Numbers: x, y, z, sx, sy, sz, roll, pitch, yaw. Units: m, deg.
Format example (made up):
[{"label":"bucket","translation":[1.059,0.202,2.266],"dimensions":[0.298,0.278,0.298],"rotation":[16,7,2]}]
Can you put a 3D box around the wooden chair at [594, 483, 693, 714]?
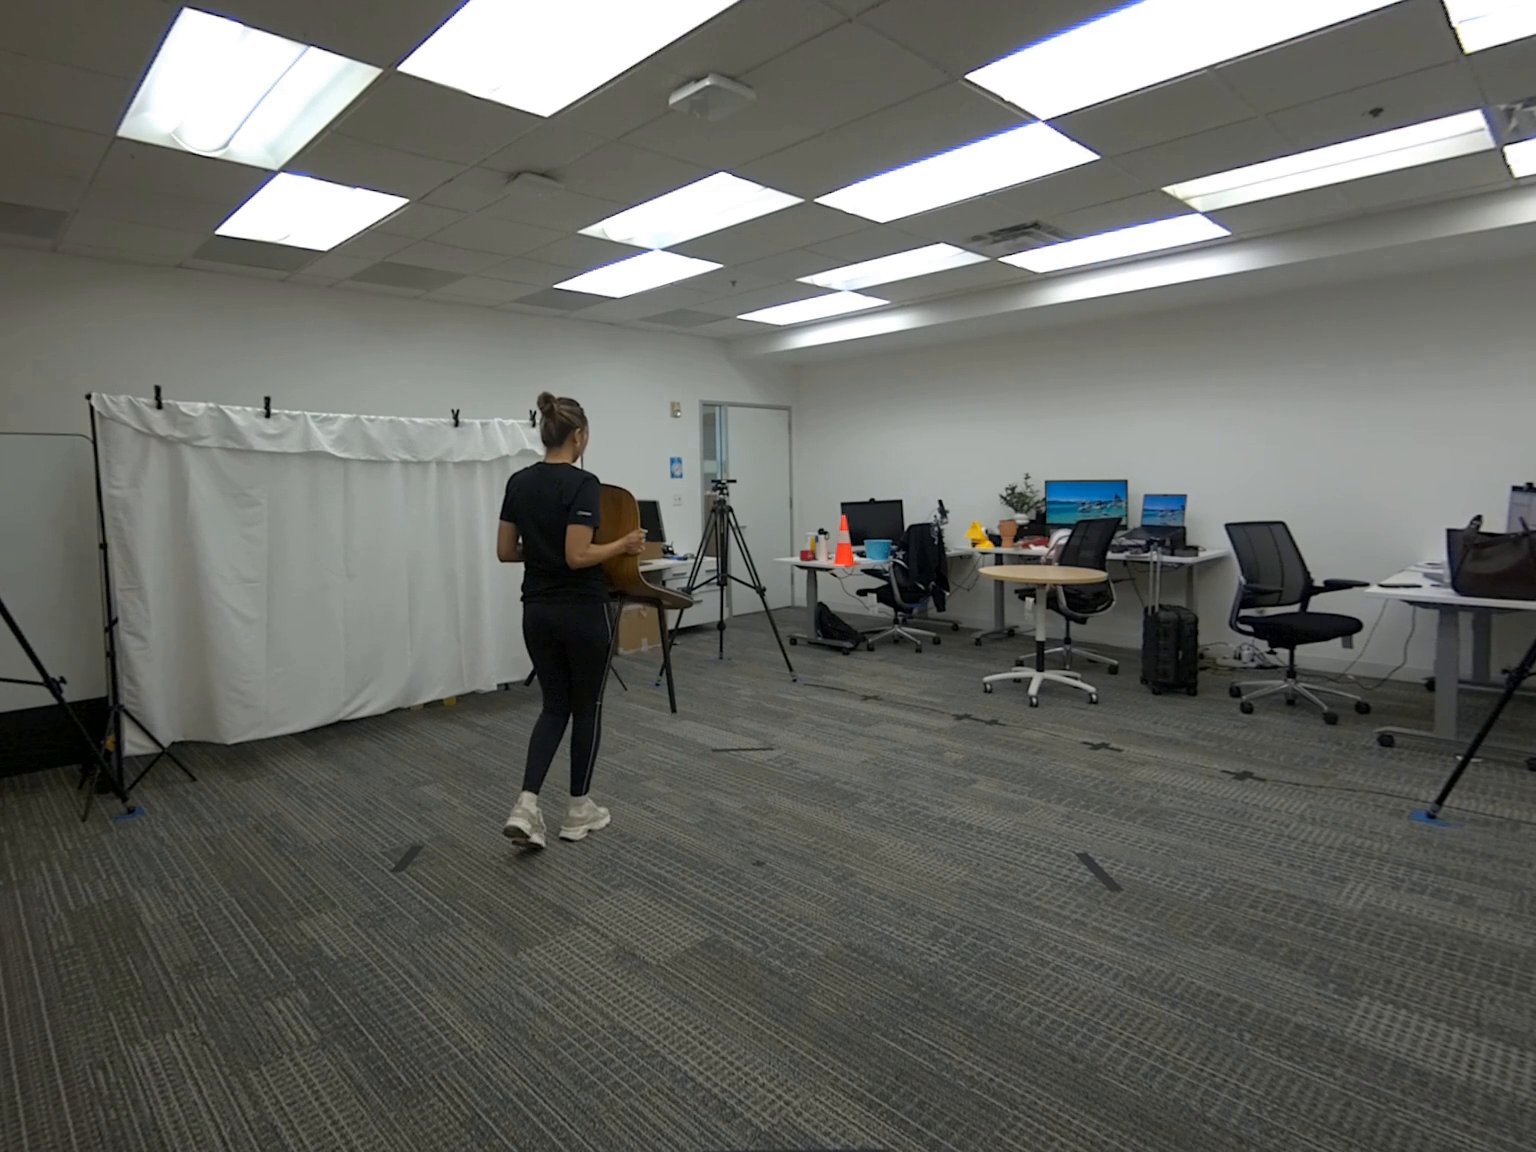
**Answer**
[{"label":"wooden chair","translation":[-0.603,0.095,3.570],"dimensions":[0.492,0.882,0.505],"rotation":[1,-9,38]}]
